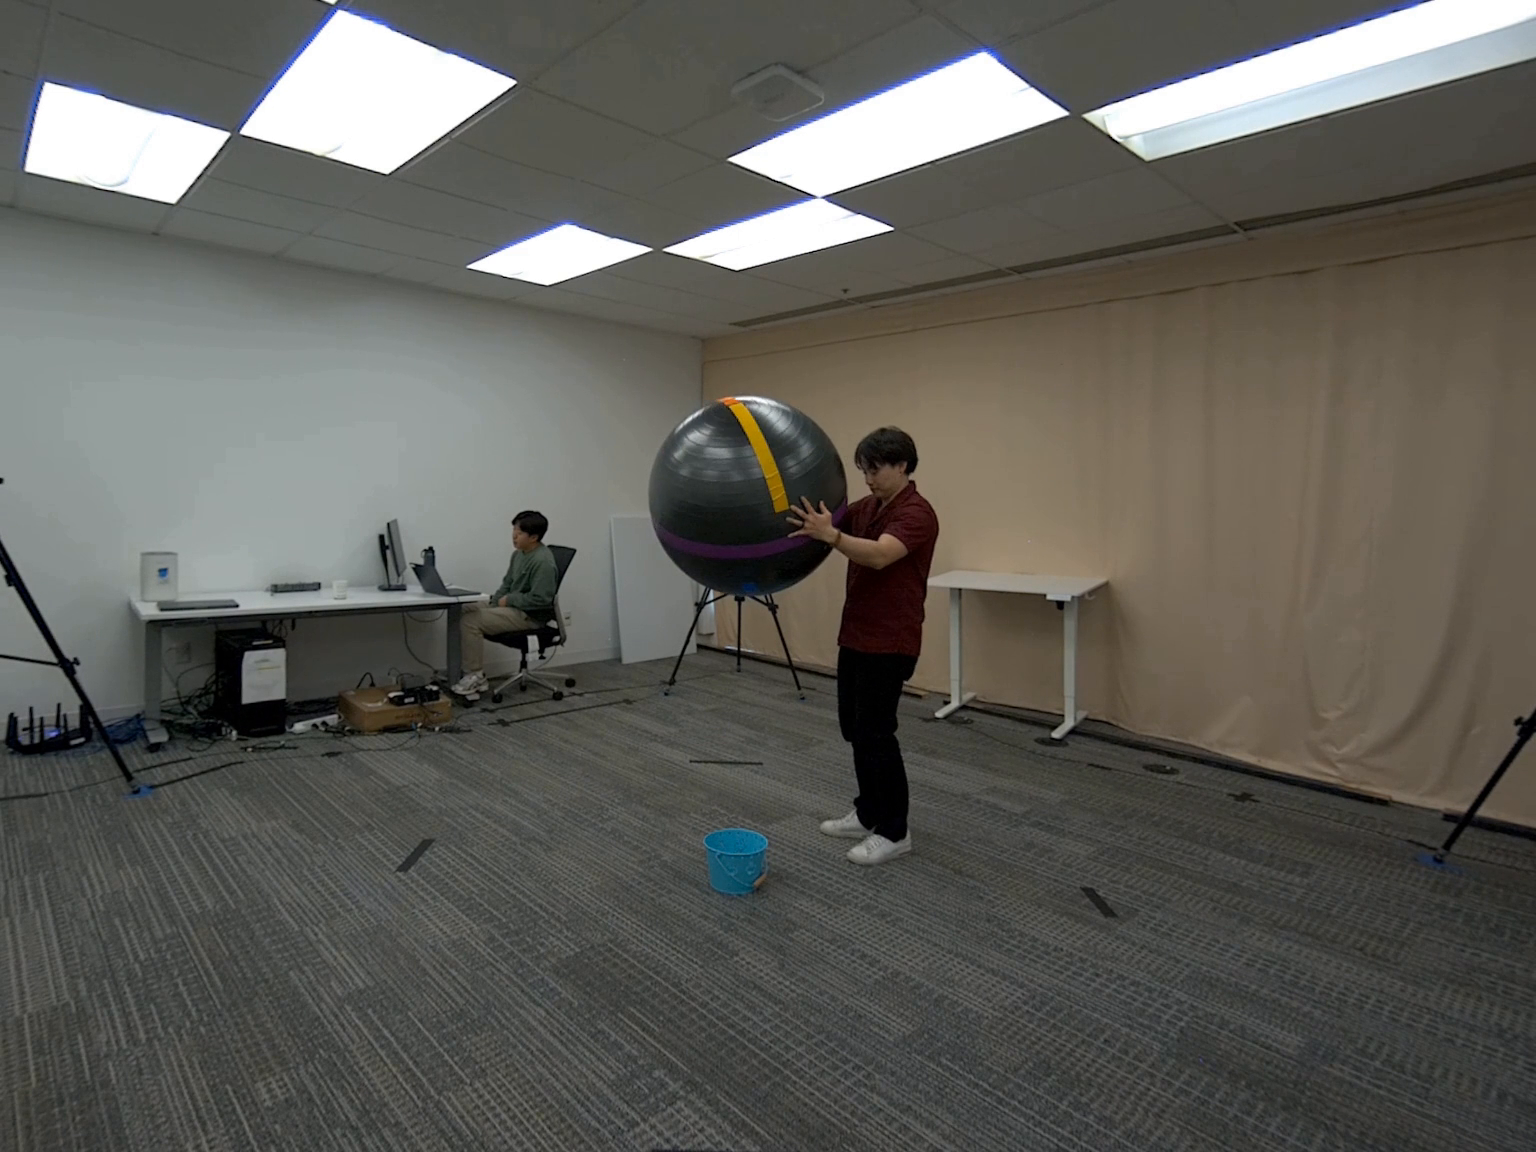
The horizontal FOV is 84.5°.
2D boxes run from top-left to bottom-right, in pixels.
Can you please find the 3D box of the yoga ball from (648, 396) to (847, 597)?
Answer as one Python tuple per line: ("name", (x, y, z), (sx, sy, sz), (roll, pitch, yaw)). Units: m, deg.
("yoga ball", (-0.078, -0.299, 3.210), (0.757, 0.756, 0.761), (1, 4, -1))
